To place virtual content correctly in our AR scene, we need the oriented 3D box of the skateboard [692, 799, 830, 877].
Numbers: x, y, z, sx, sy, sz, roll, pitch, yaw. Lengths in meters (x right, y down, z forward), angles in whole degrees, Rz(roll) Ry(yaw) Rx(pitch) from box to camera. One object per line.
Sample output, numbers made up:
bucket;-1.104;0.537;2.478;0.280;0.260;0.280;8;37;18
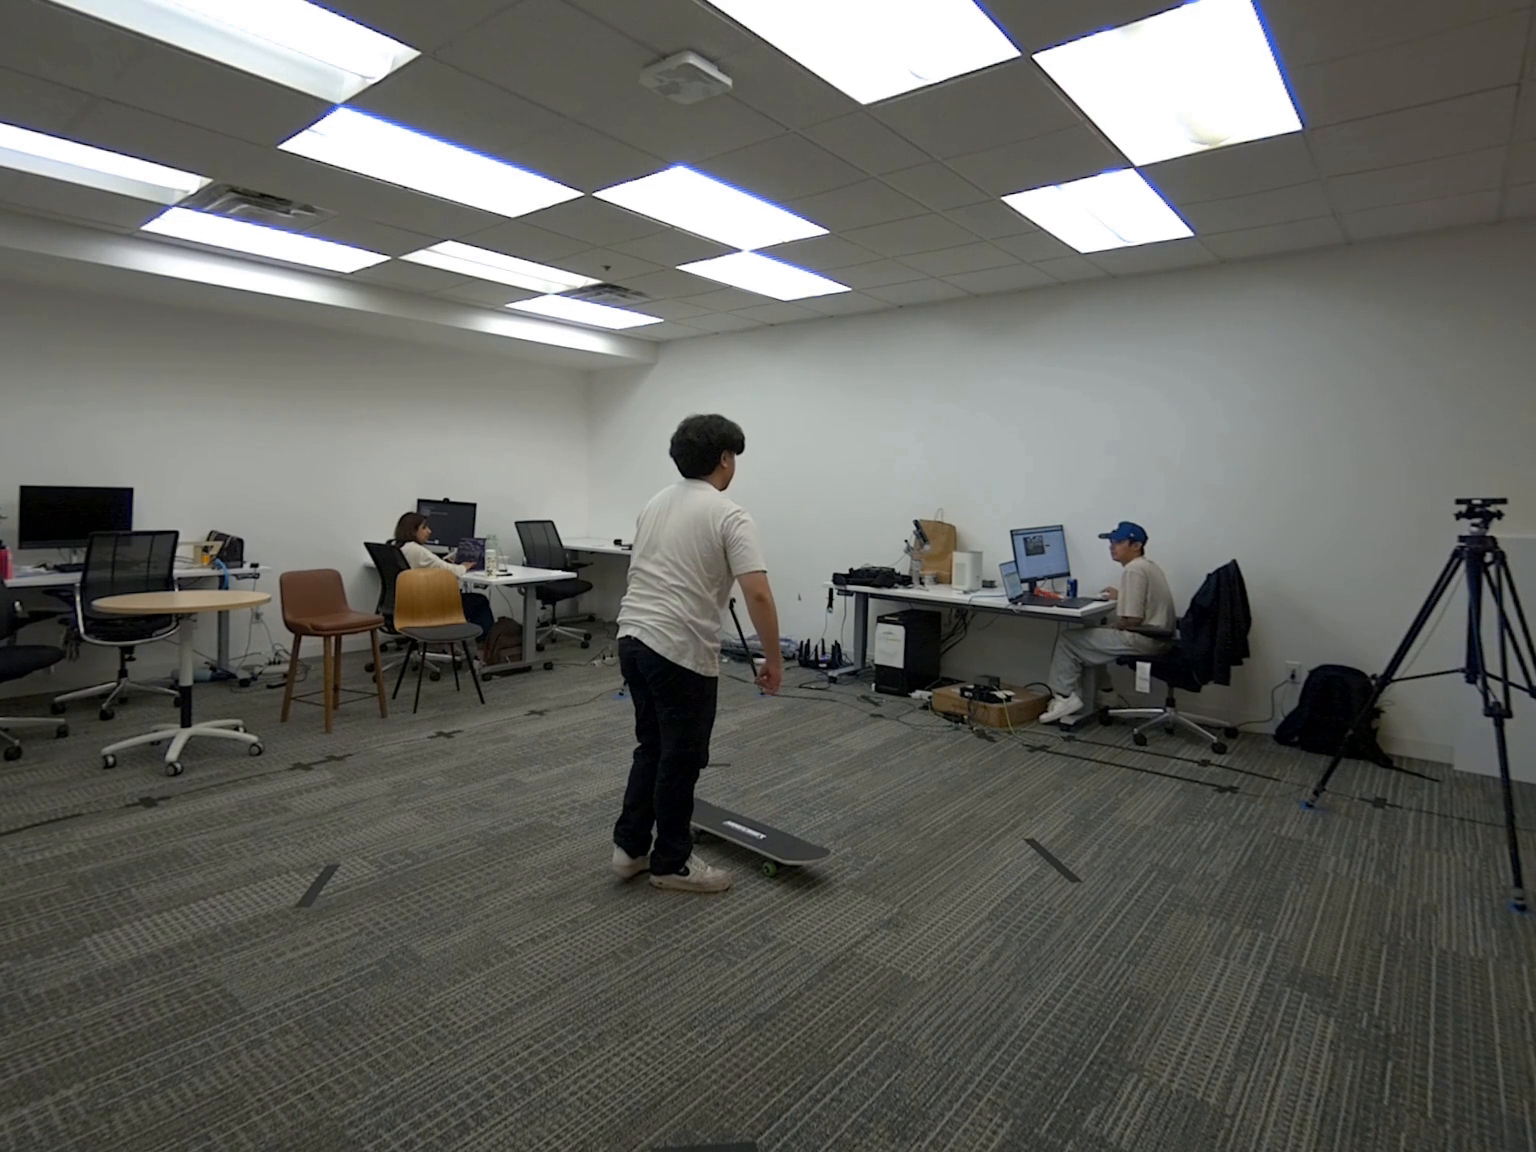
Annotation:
skateboard;-0.104;0.996;3.260;0.813;0.110;0.187;7;7;42
